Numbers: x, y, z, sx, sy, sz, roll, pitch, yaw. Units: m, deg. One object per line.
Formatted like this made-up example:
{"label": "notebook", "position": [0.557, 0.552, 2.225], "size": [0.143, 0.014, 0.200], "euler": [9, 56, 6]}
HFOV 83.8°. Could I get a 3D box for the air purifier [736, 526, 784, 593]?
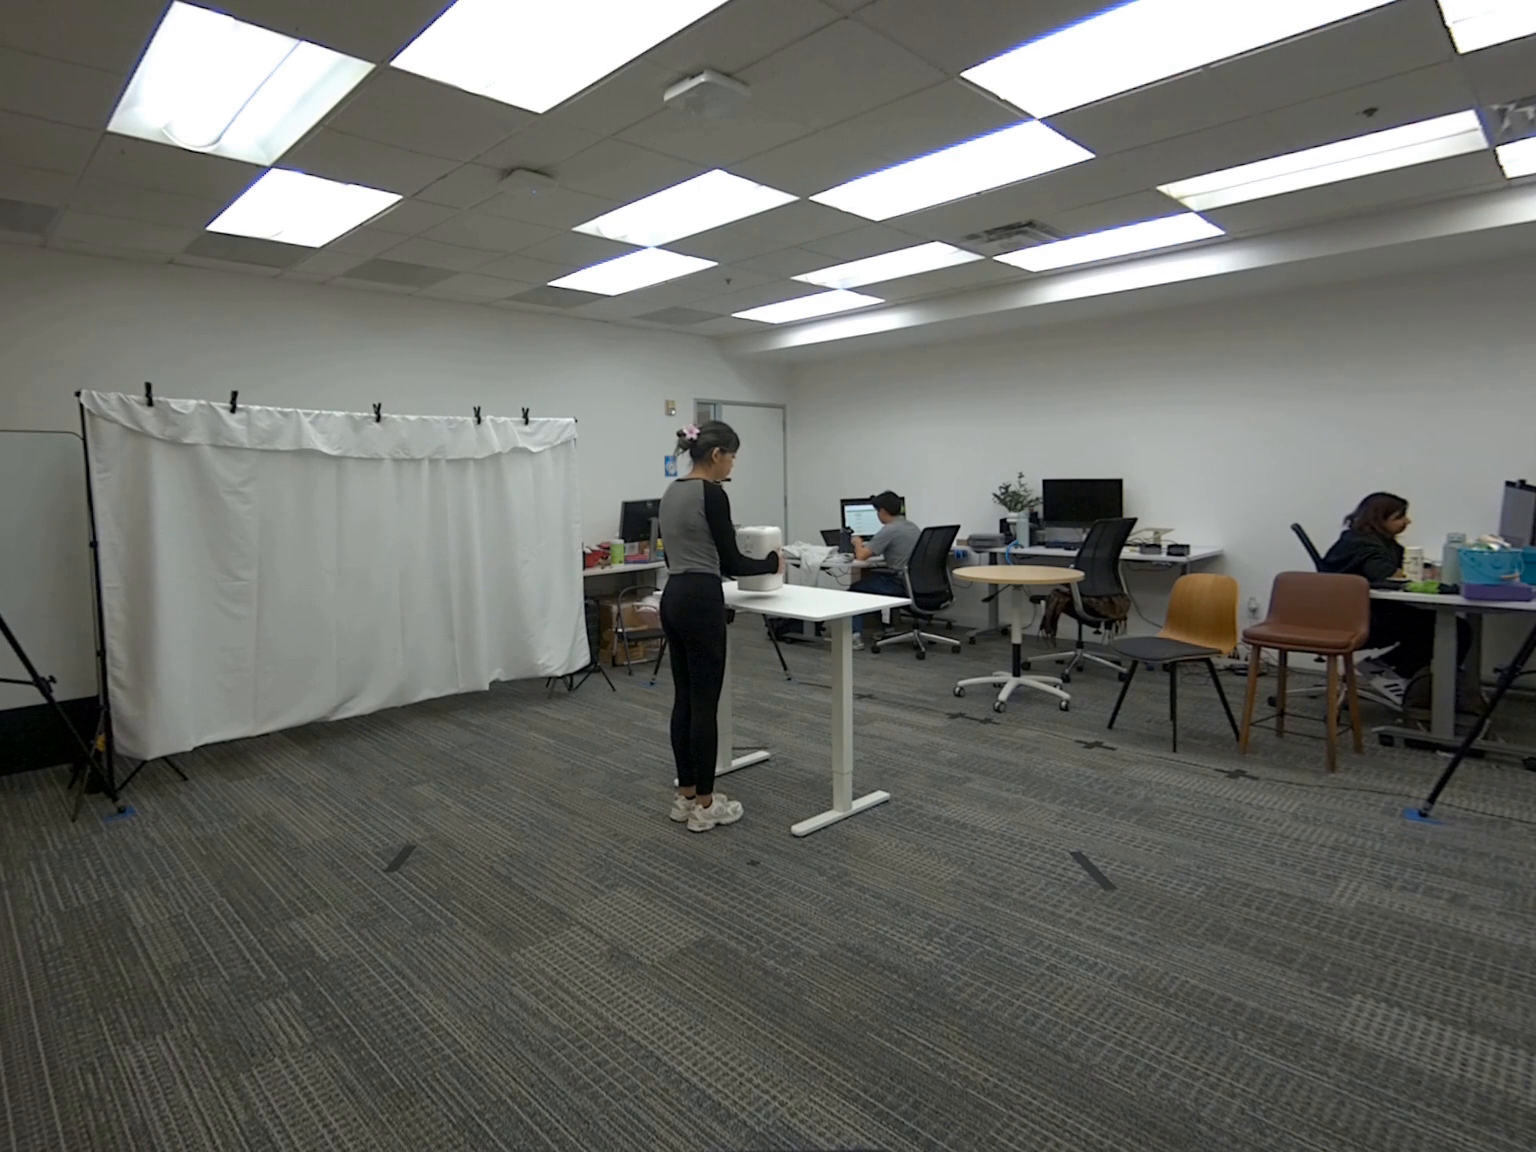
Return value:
{"label": "air purifier", "position": [-0.037, -0.075, 3.689], "size": [0.176, 0.264, 0.168], "euler": [3, 8, 32]}
